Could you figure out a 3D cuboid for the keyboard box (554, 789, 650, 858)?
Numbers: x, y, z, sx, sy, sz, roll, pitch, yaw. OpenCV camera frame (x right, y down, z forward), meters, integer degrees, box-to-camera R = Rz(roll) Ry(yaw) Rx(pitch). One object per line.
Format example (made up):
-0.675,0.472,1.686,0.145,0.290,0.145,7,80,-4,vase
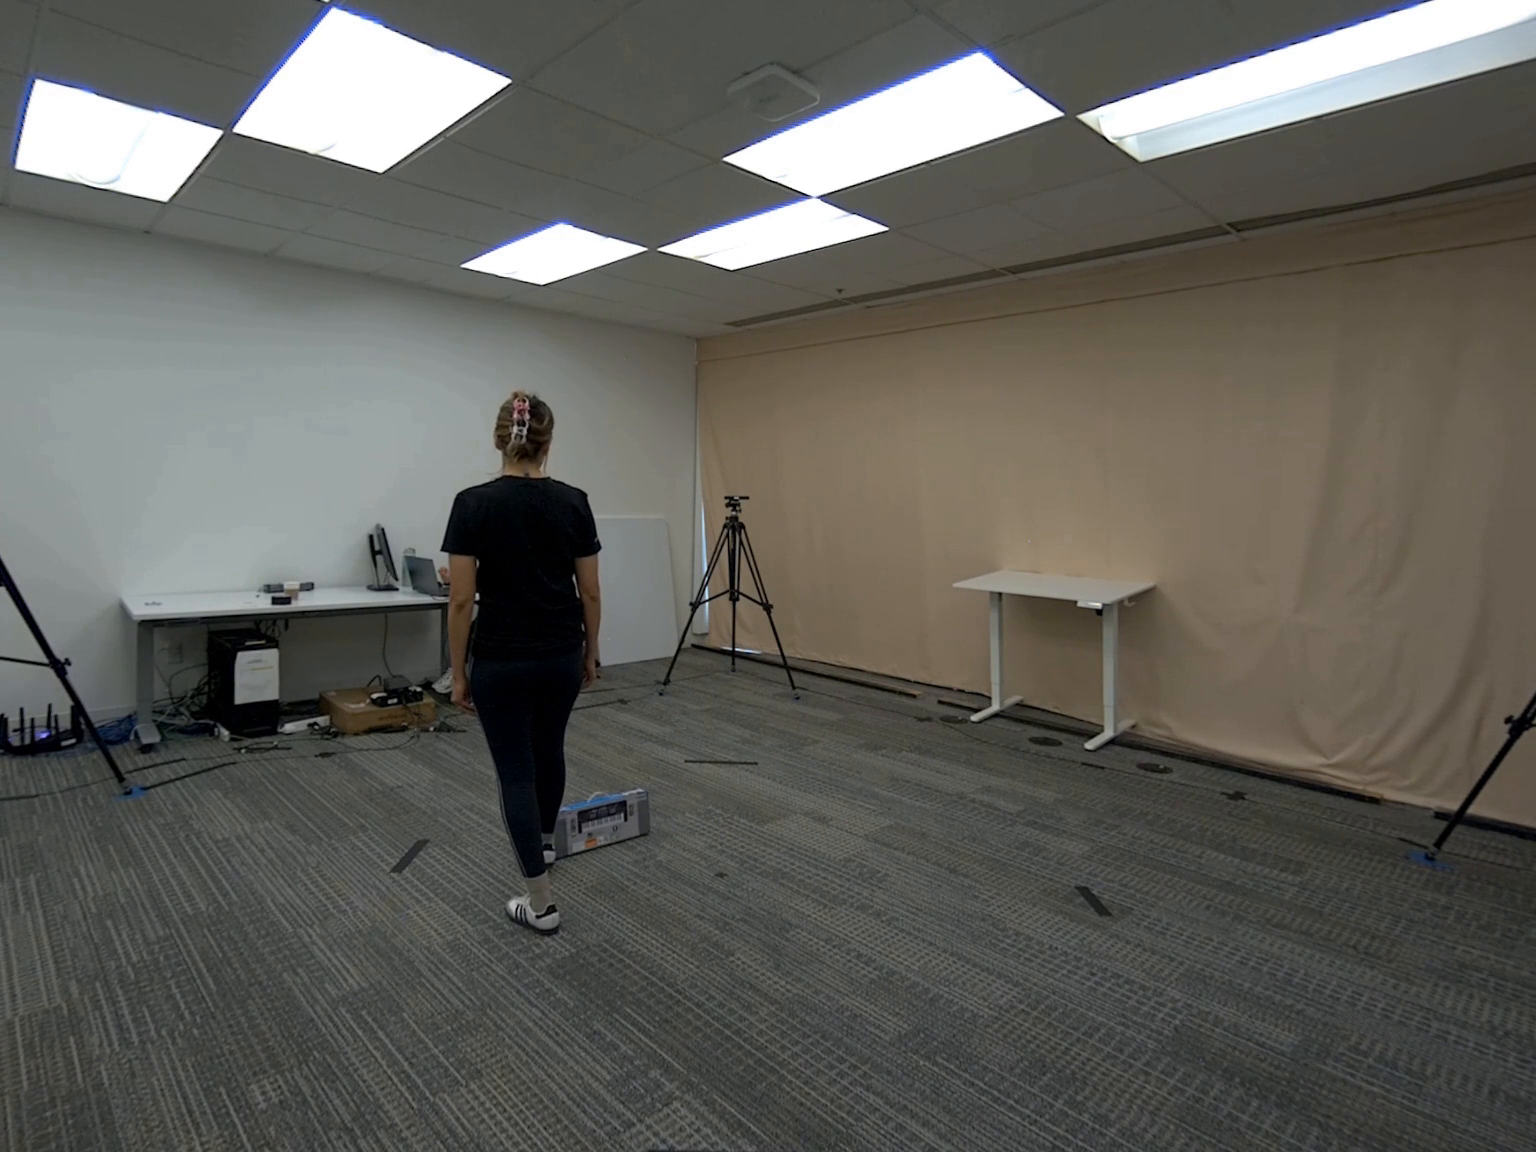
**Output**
-0.676,0.983,3.348,0.427,0.176,0.060,-3,-3,-41,keyboard box
